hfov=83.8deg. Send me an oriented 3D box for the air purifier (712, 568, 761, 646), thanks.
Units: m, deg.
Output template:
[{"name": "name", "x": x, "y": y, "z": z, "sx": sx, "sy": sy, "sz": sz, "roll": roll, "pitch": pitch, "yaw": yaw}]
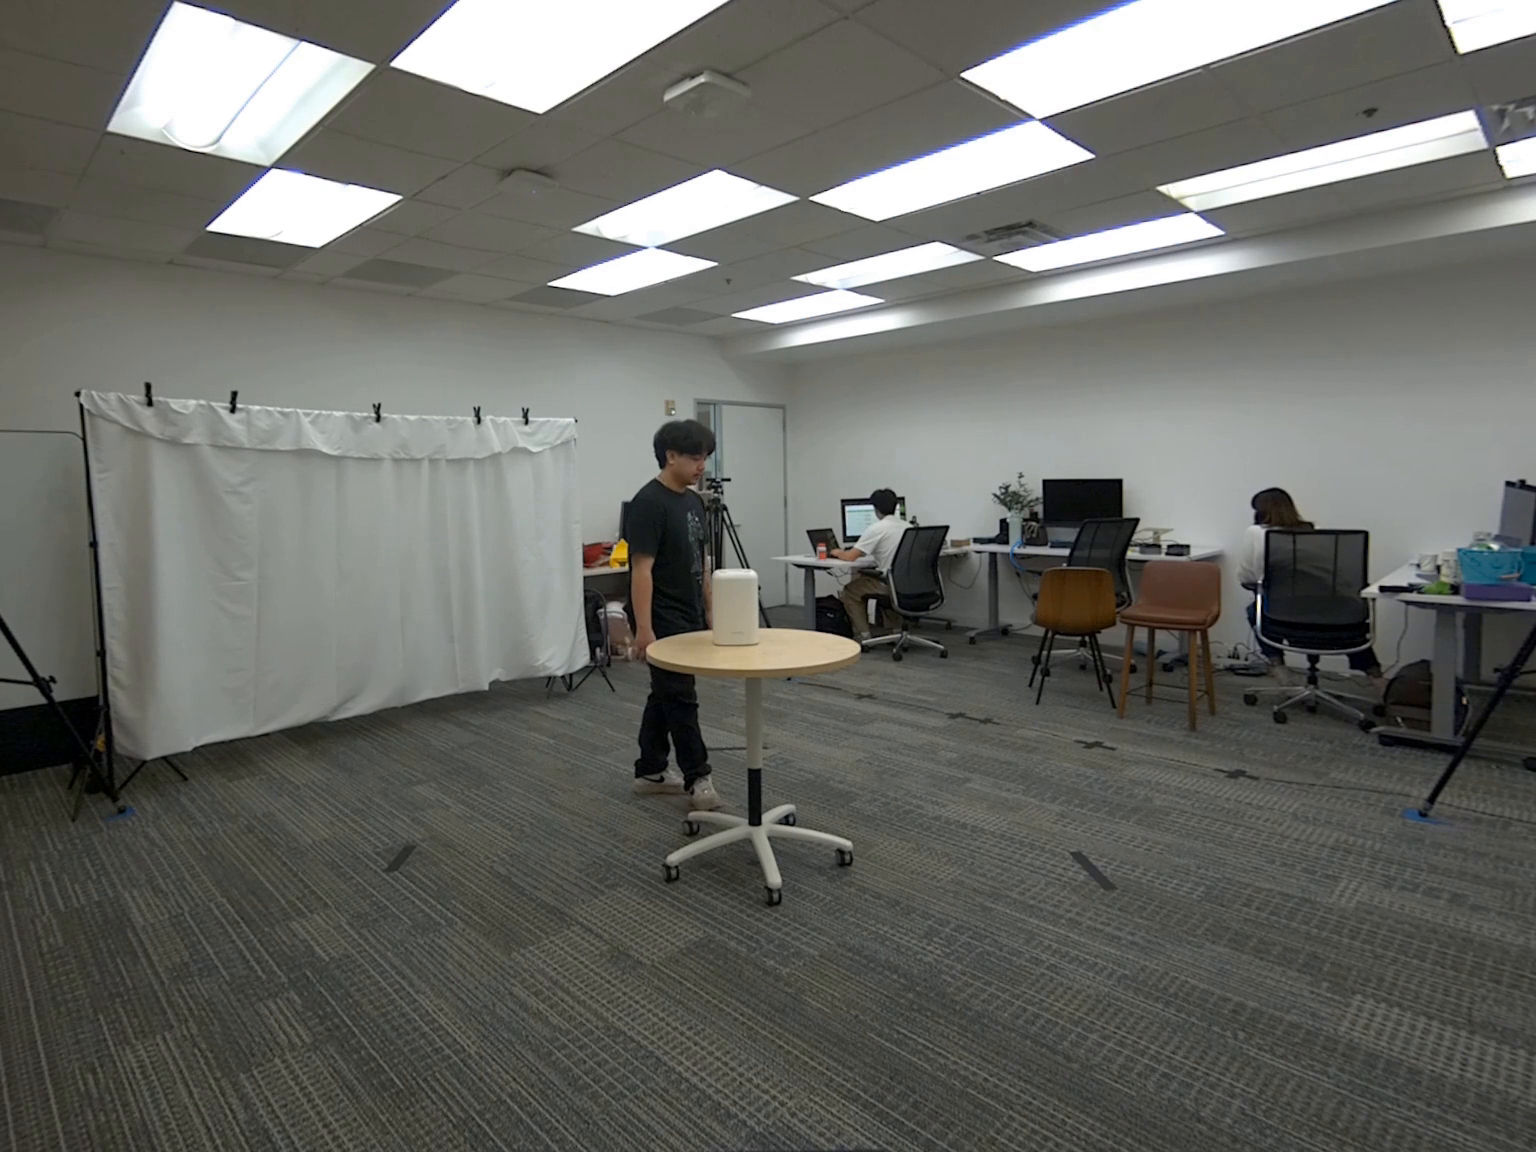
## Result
[{"name": "air purifier", "x": -0.118, "y": 0.112, "z": 3.158, "sx": 0.171, "sy": 0.265, "sz": 0.172, "roll": -1, "pitch": 2, "yaw": -1}]
